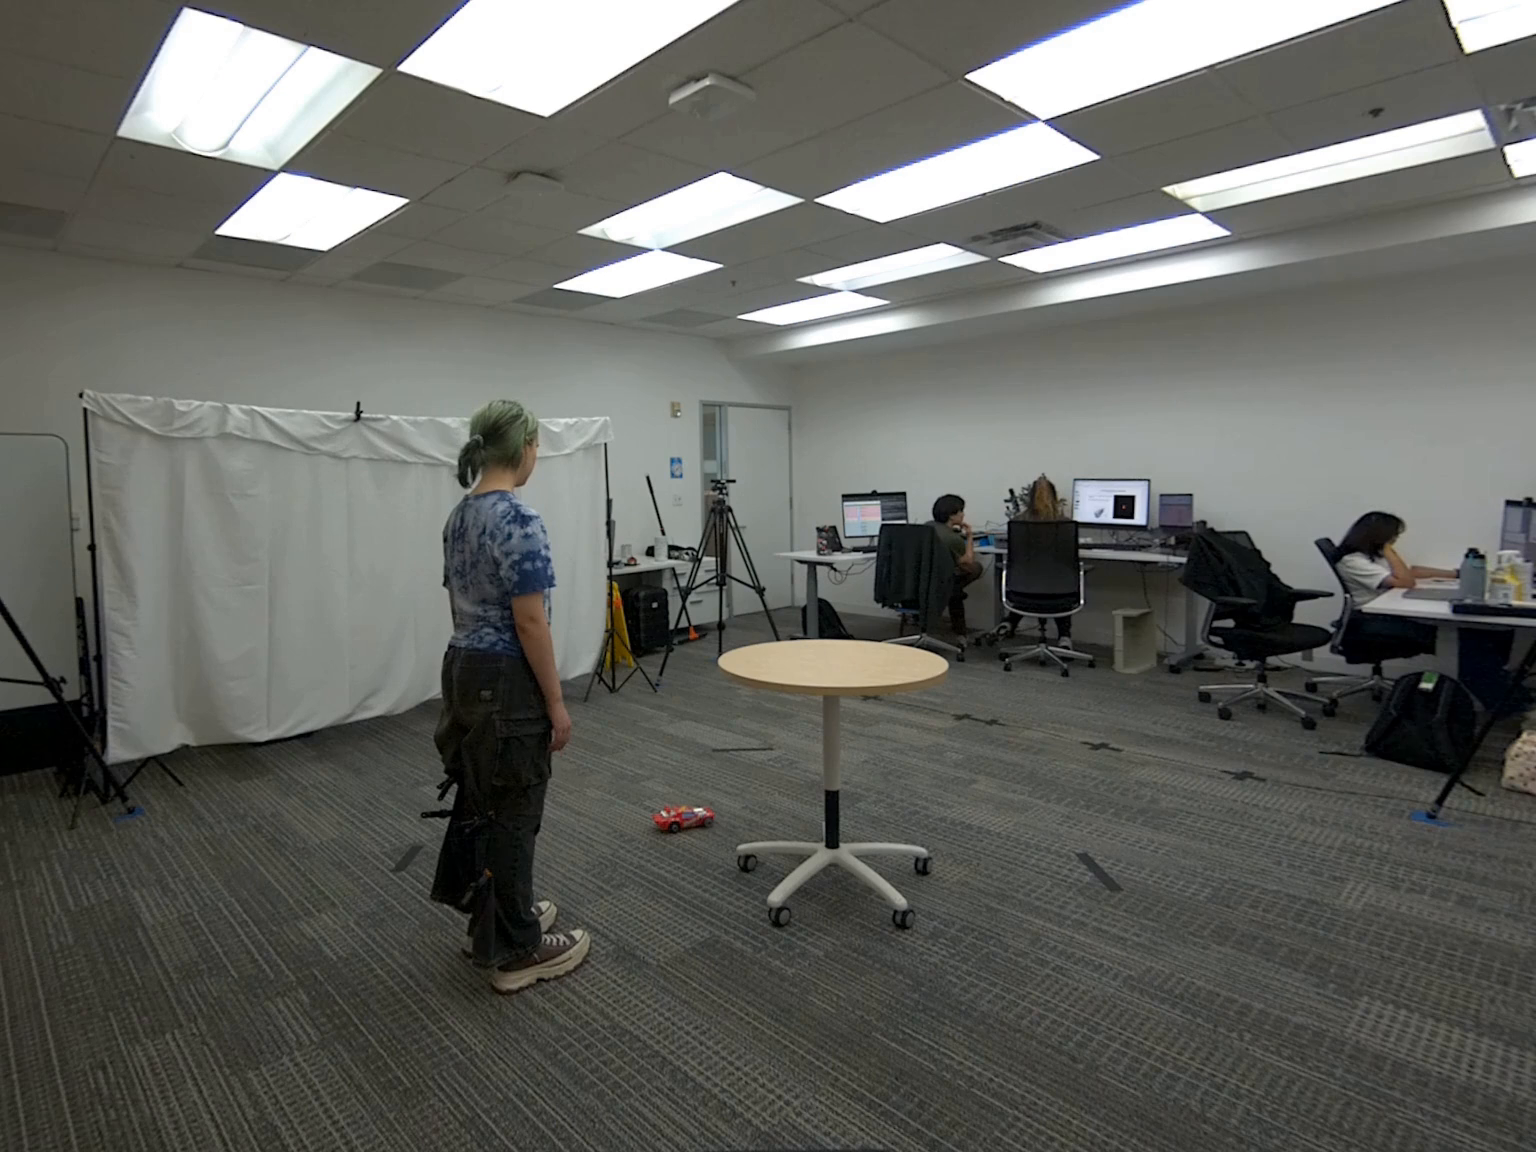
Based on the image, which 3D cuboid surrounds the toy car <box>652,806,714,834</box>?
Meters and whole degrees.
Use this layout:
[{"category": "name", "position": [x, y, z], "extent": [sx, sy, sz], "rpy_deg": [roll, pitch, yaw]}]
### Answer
[{"category": "toy car", "position": [-0.351, 0.978, 3.453], "extent": [0.249, 0.083, 0.133], "rpy_deg": [9, 0, -23]}]
